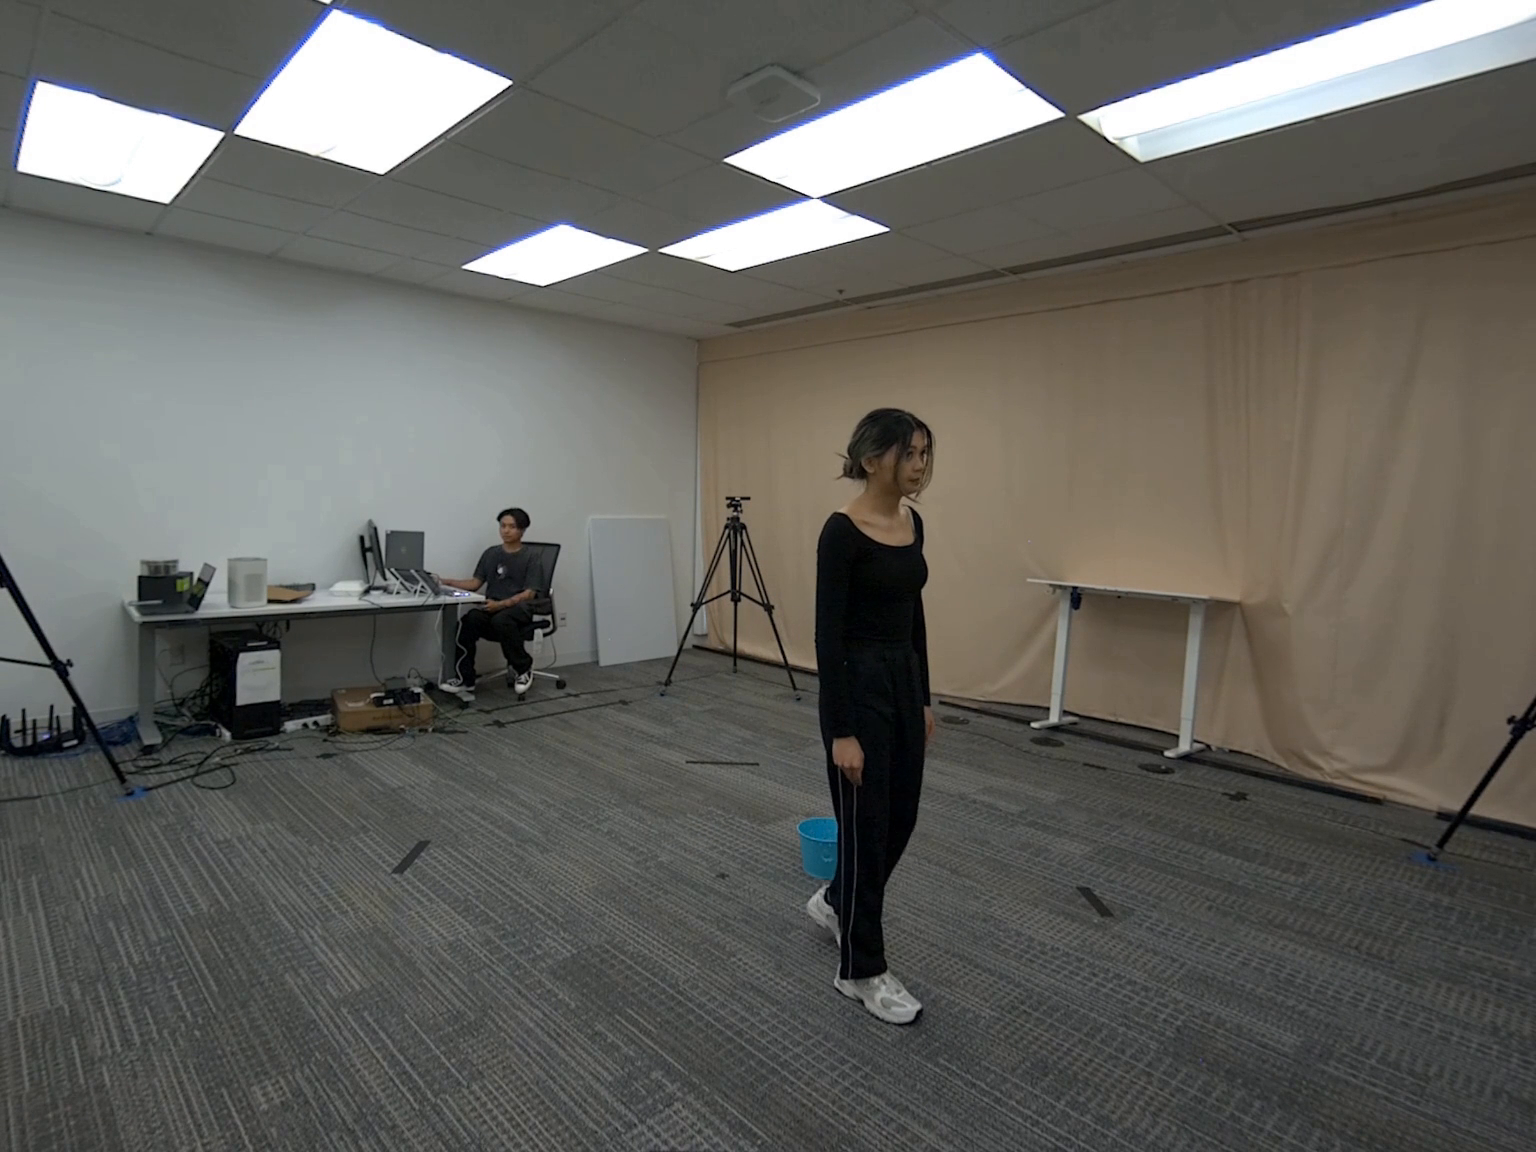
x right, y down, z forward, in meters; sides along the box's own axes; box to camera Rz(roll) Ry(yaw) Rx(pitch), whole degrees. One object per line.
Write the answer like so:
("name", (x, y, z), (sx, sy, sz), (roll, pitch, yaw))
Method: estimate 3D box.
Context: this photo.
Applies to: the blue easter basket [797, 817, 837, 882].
("blue easter basket", (0.217, 1.027, 3.182), (0.243, 0.155, 0.244), (1, 4, -1))
